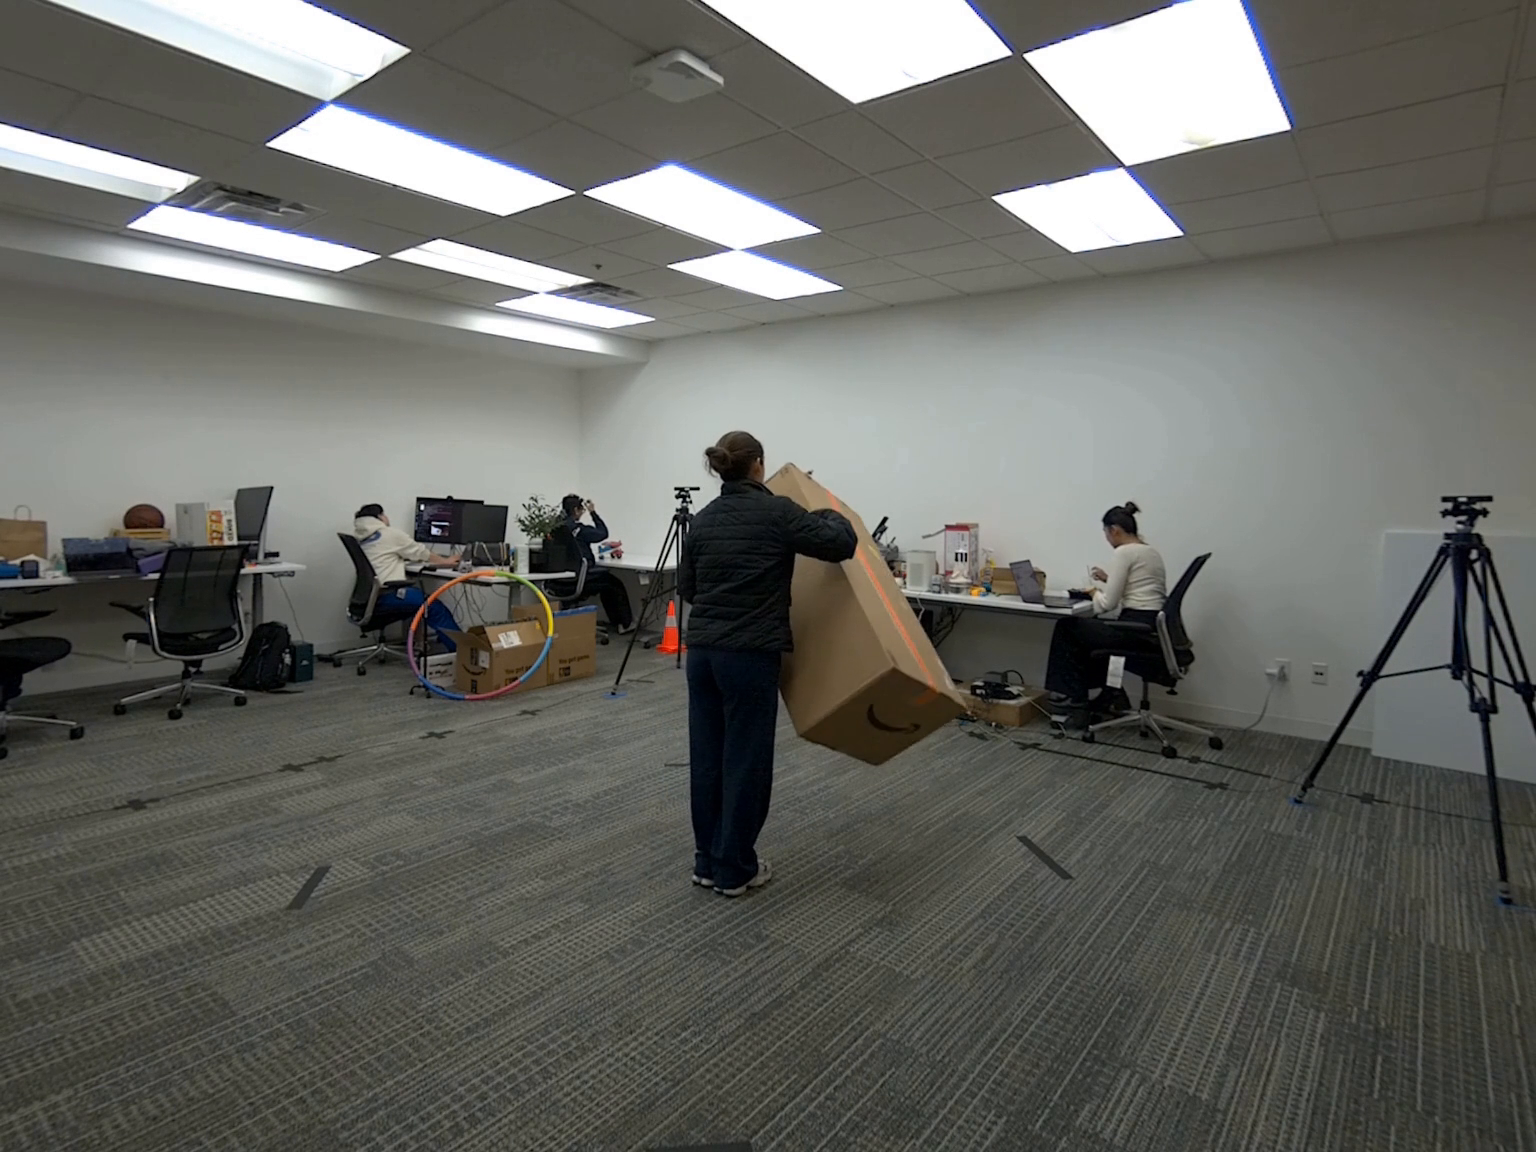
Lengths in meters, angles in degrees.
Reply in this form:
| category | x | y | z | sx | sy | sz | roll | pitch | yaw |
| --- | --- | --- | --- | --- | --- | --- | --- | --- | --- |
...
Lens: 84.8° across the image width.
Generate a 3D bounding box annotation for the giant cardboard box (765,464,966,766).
| category | x | y | z | sx | sy | sz | roll | pitch | yaw |
| --- | --- | --- | --- | --- | --- | --- | --- | --- | --- |
| giant cardboard box | 0.274 | 0.131 | 3.340 | 0.428 | 1.065 | 0.553 | -38 | -41 | 19 |
